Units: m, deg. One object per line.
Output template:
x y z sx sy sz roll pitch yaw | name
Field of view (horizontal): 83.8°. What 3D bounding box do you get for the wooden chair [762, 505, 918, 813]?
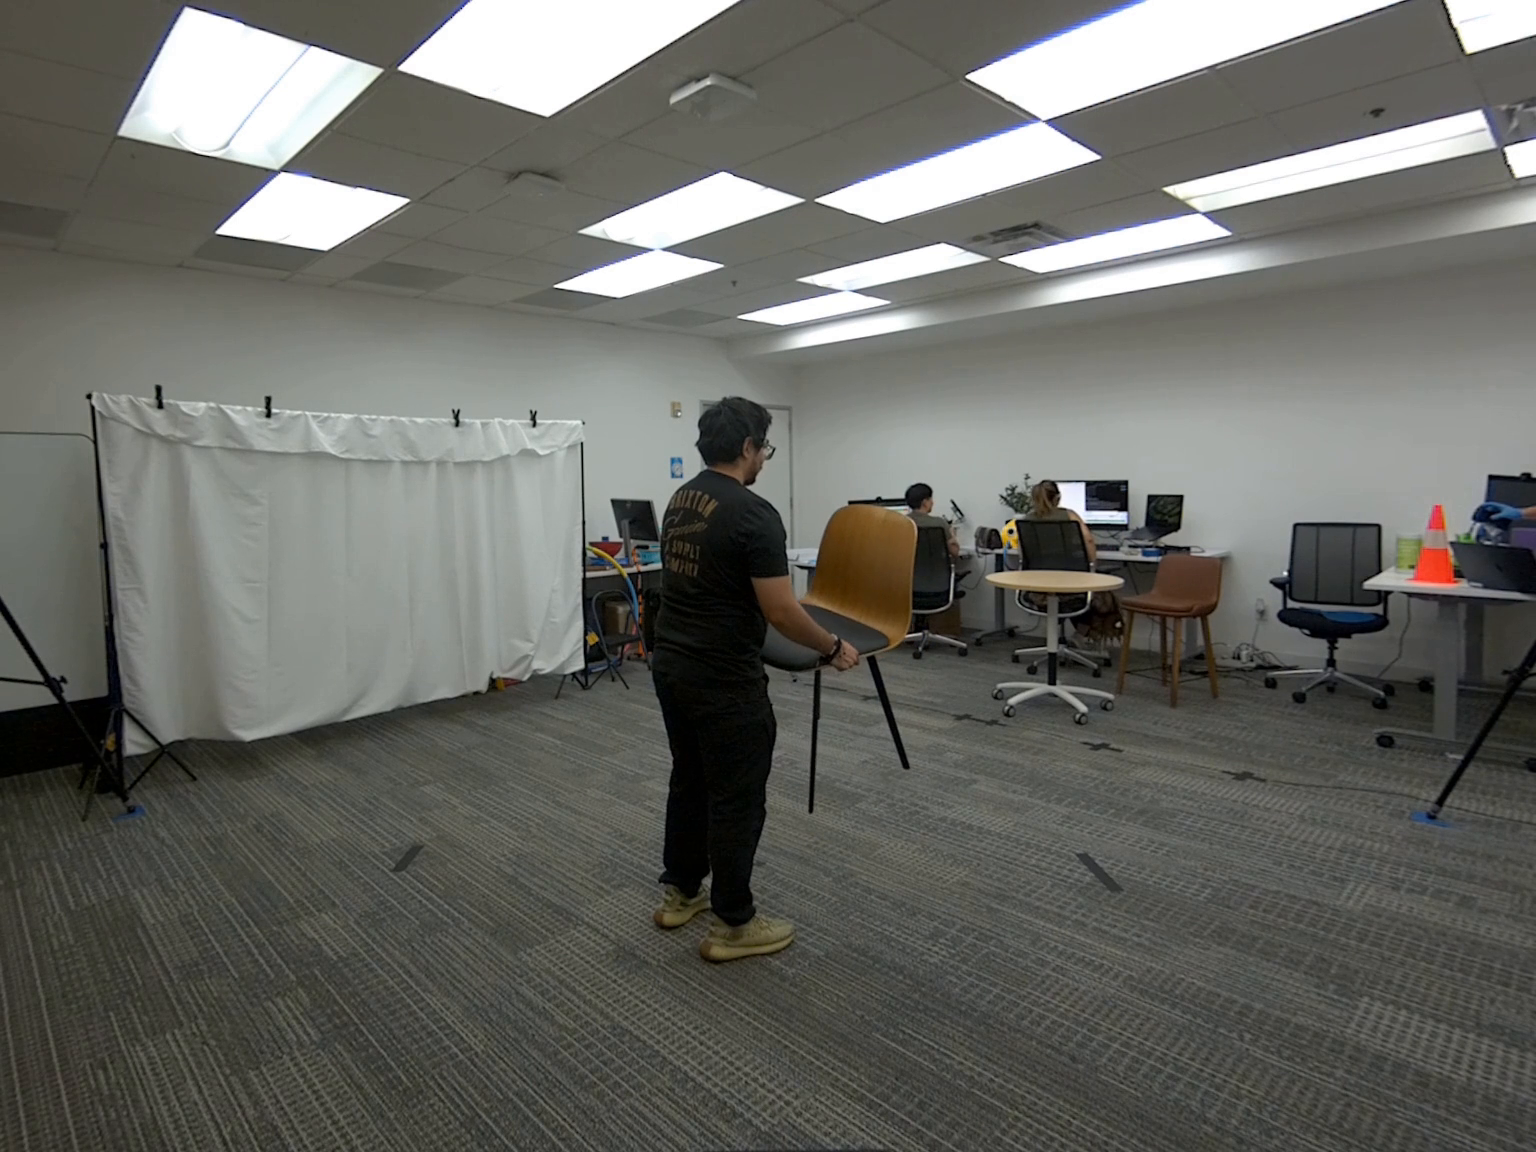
0.172 0.226 2.788 0.510 0.868 0.495 -6 17 -39 | wooden chair
